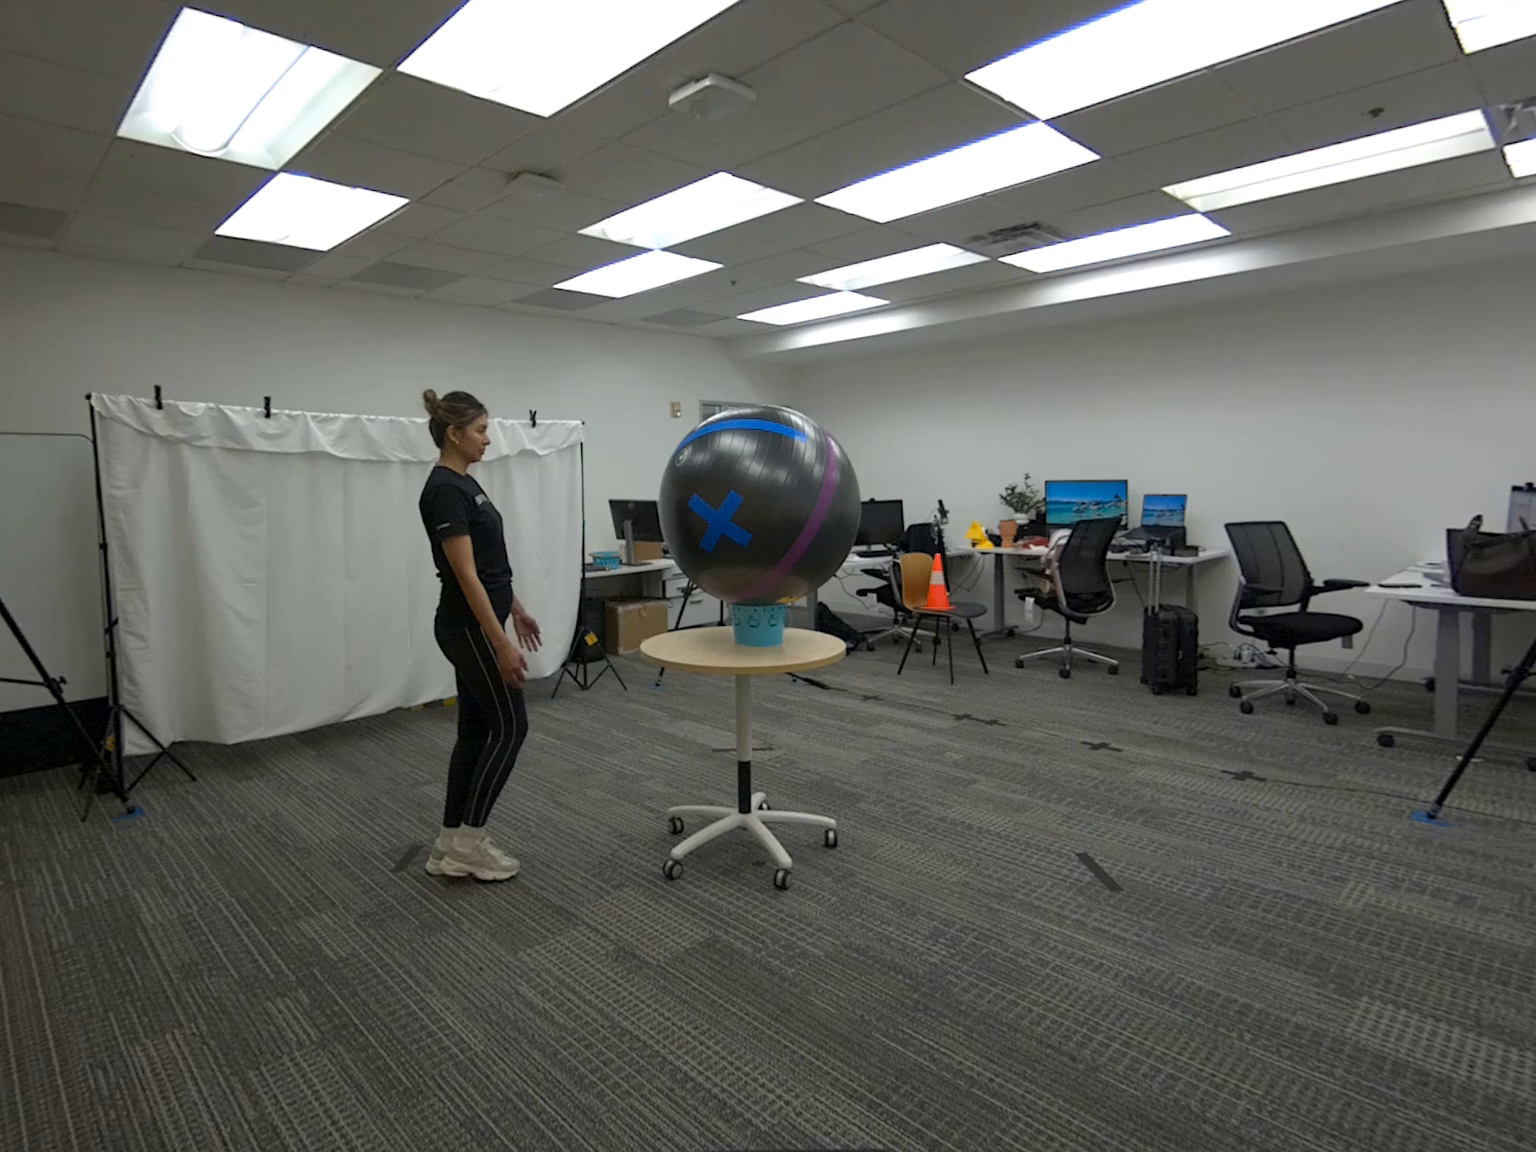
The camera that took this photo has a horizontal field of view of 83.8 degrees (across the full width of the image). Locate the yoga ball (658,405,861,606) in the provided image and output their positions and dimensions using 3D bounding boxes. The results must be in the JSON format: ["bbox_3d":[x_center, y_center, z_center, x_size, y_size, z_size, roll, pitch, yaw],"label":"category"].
[{"bbox_3d":[-0.030,-0.249,3.216,0.757,0.755,0.762,-1,5,-2],"label":"yoga ball"}]
